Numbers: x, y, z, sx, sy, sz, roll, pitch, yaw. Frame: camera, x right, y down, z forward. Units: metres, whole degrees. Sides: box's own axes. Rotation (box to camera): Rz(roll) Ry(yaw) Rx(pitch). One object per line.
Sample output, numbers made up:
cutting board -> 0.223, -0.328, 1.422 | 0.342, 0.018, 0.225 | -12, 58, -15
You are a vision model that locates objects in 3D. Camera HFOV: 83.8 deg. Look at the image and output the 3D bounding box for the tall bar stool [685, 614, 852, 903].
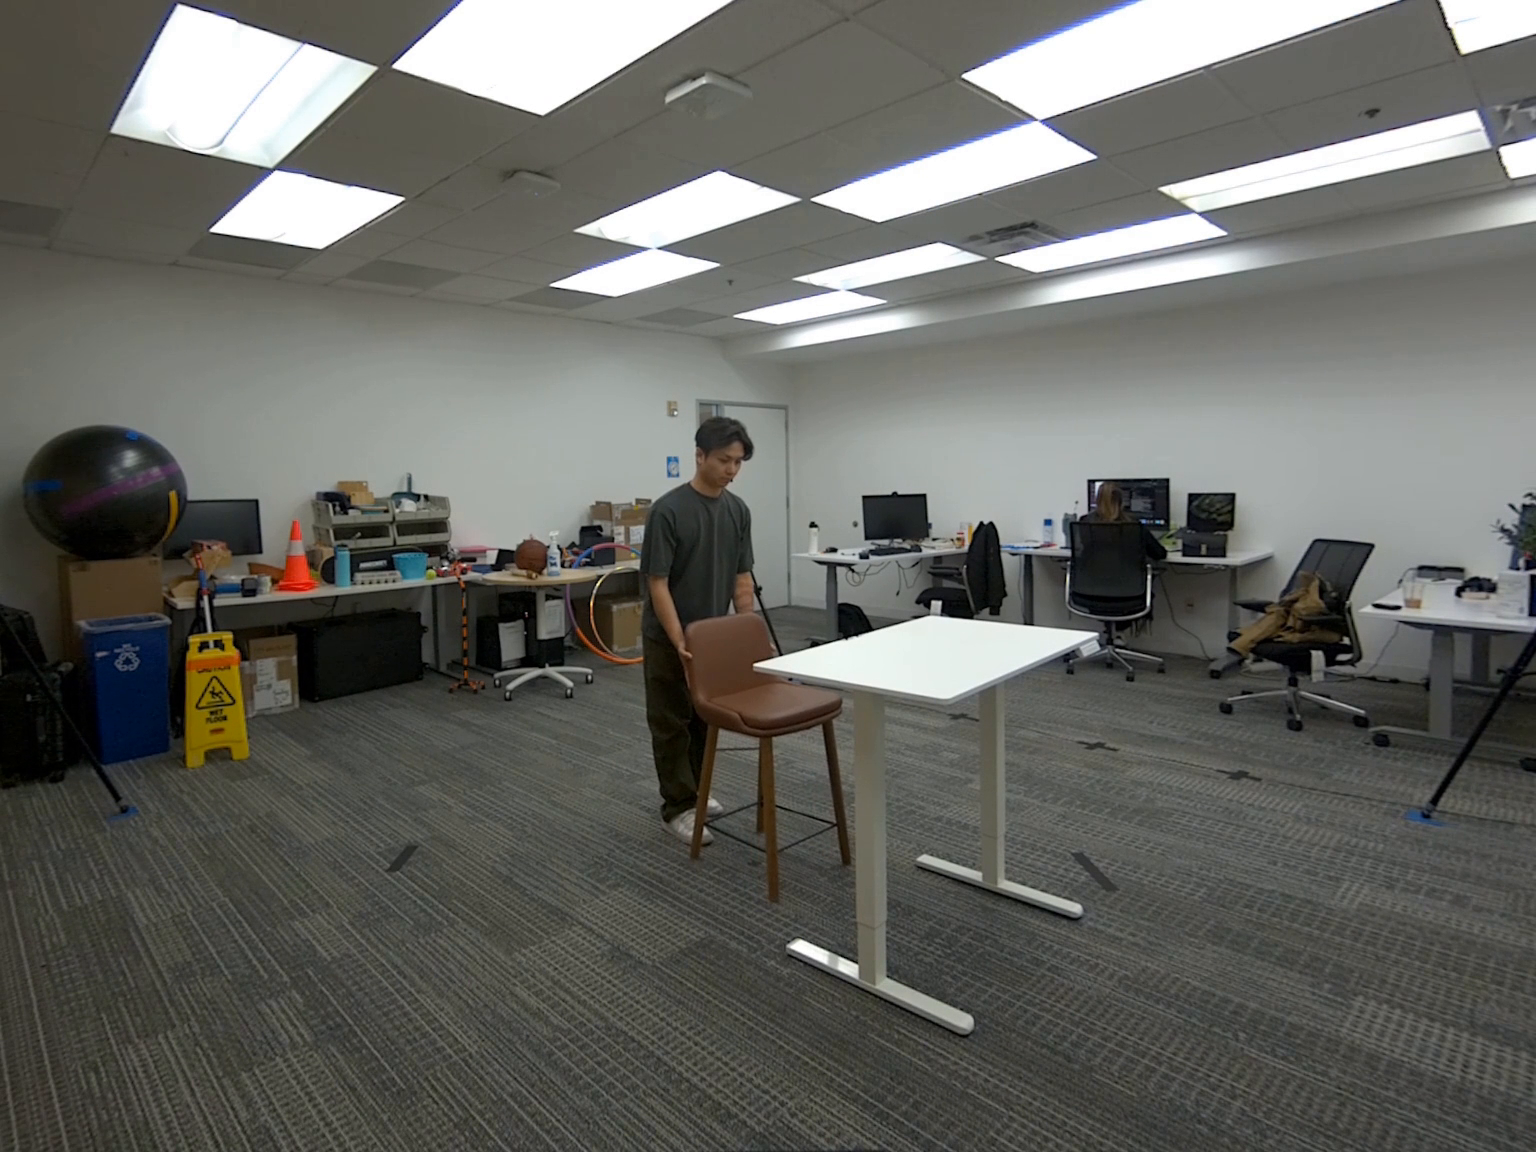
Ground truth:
tall bar stool -> -0.008, 0.607, 3.092 | 0.444, 0.888, 0.481 | -5, 4, -44
